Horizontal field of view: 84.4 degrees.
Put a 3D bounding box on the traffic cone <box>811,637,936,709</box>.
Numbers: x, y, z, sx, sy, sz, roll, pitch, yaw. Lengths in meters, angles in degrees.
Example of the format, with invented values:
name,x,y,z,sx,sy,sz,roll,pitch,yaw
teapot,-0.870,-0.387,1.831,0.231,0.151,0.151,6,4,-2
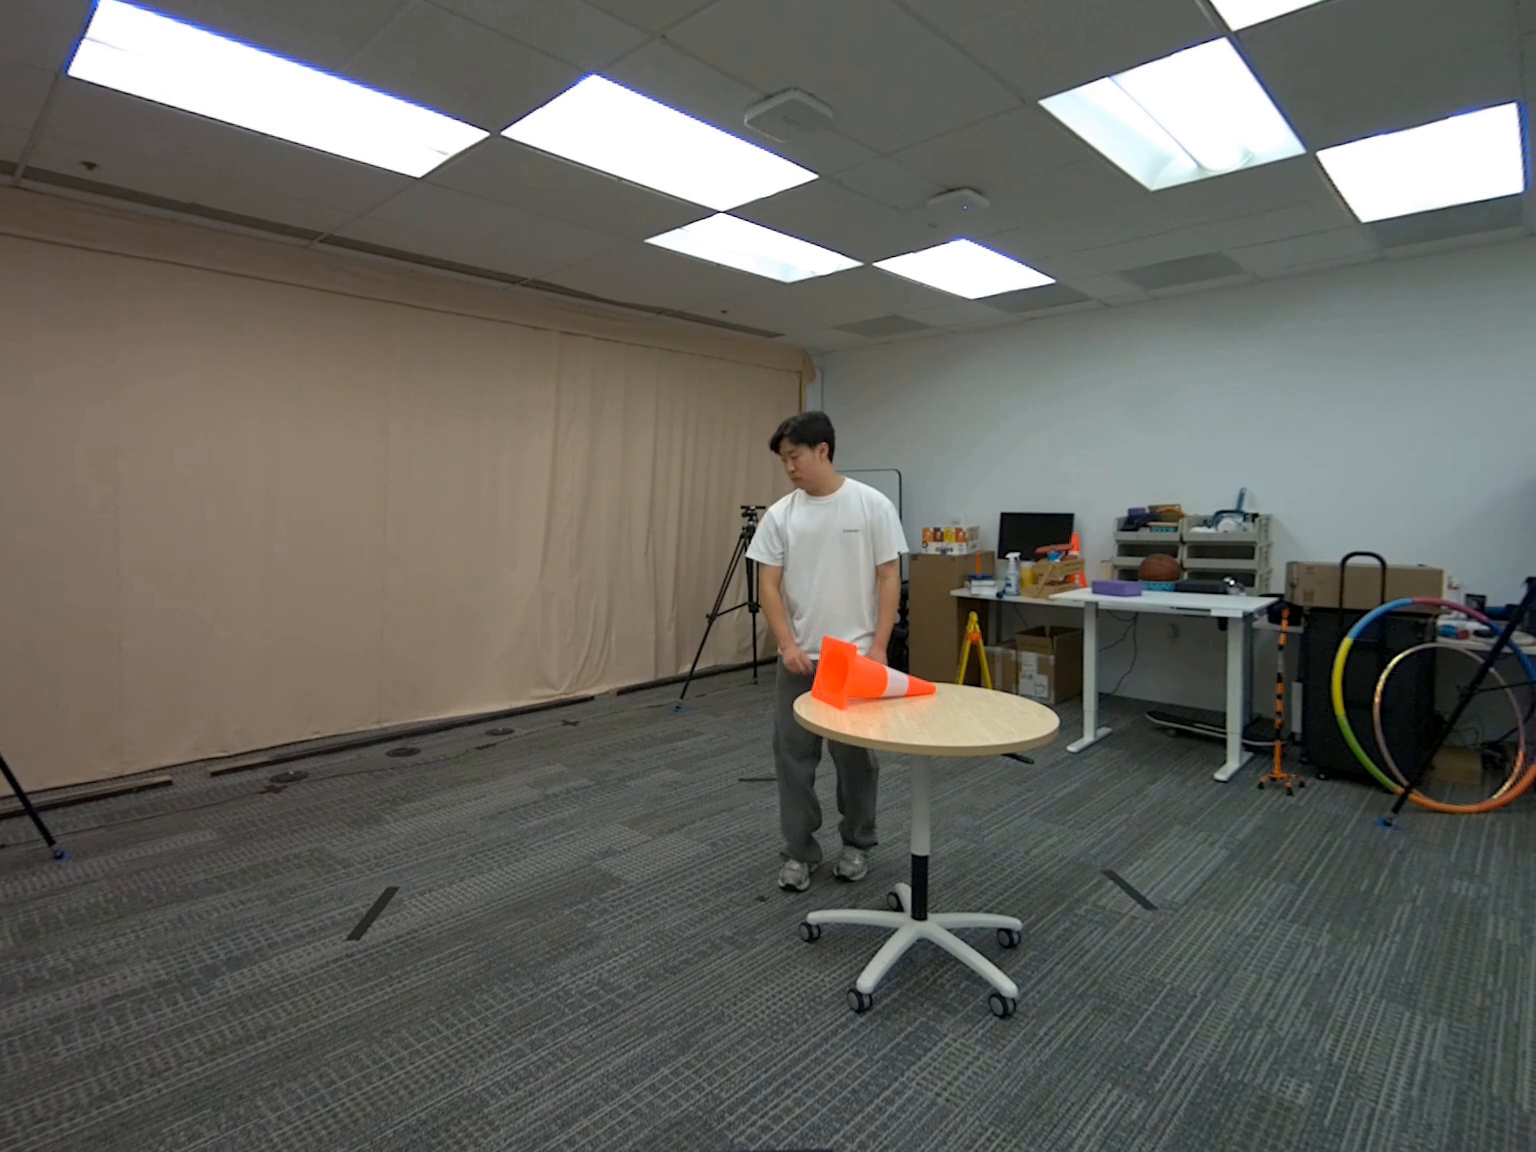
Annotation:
name,x,y,z,sx,sy,sz,roll,pitch,yaw
traffic cone,0.373,0.328,2.654,0.374,0.205,0.208,12,0,-23
